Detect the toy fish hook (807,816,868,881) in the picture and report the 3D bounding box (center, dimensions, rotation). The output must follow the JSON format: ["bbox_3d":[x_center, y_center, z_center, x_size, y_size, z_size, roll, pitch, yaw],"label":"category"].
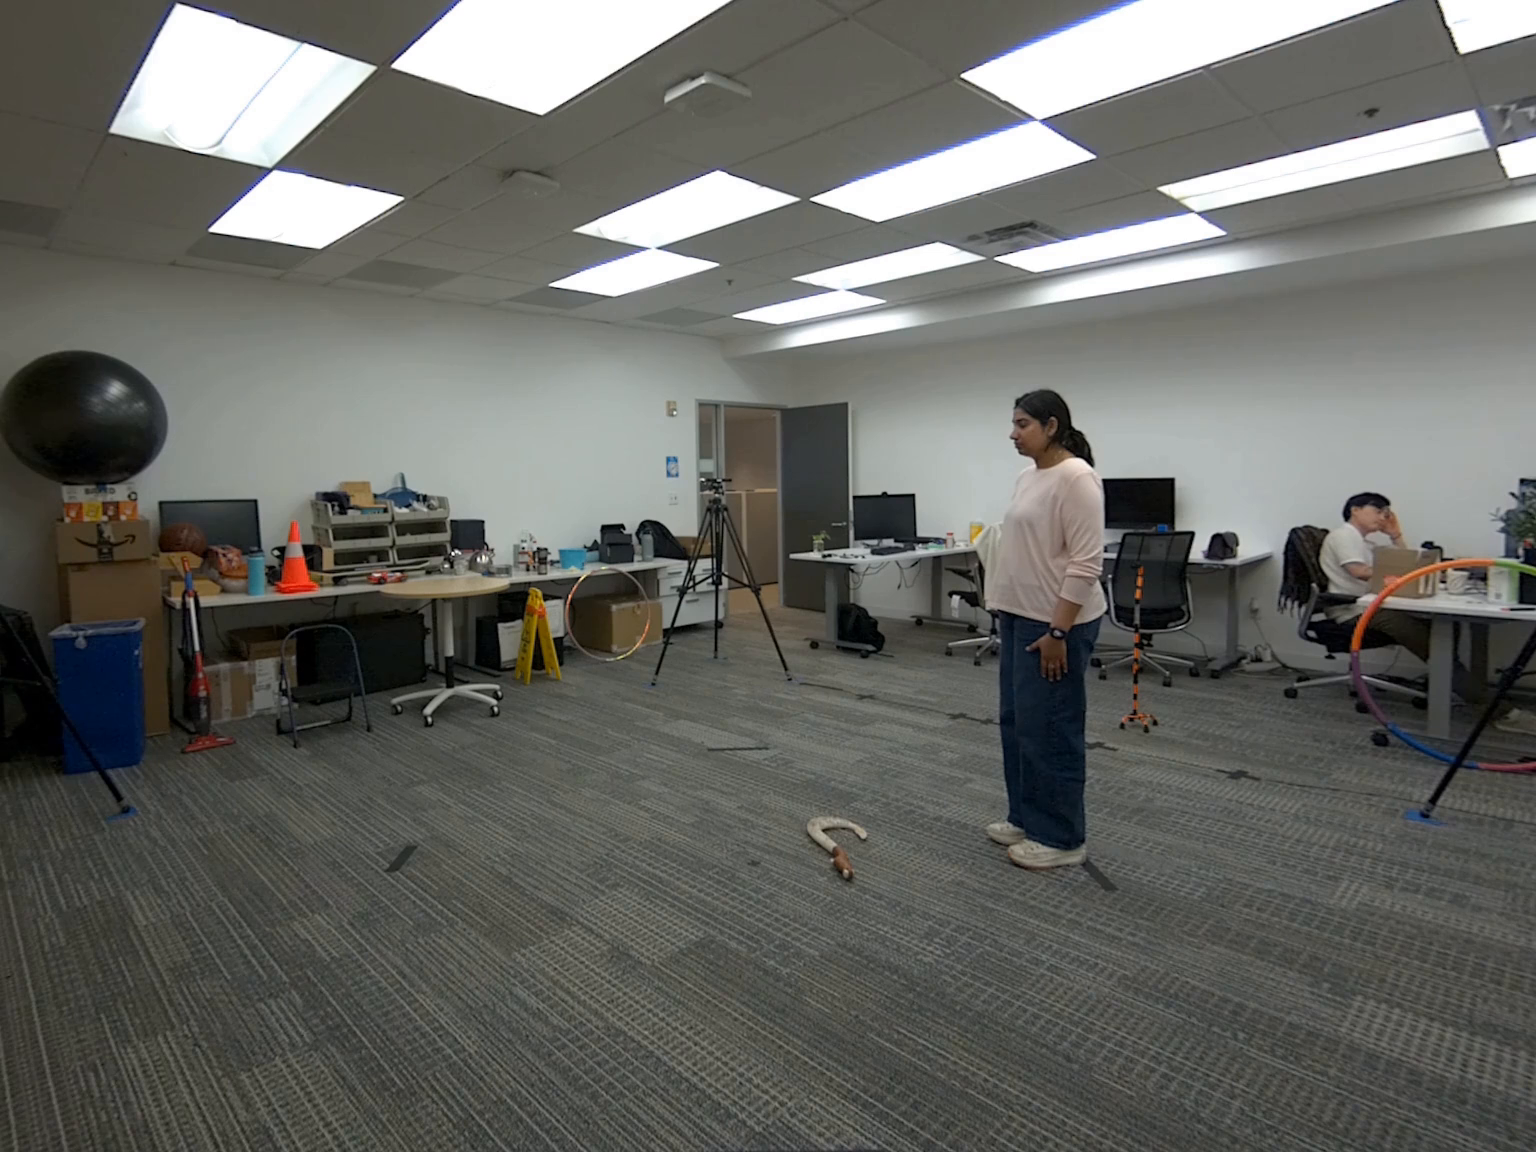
[{"bbox_3d":[0.294,1.004,3.195,0.223,0.048,0.513,-3,7,-9],"label":"toy fish hook"}]
